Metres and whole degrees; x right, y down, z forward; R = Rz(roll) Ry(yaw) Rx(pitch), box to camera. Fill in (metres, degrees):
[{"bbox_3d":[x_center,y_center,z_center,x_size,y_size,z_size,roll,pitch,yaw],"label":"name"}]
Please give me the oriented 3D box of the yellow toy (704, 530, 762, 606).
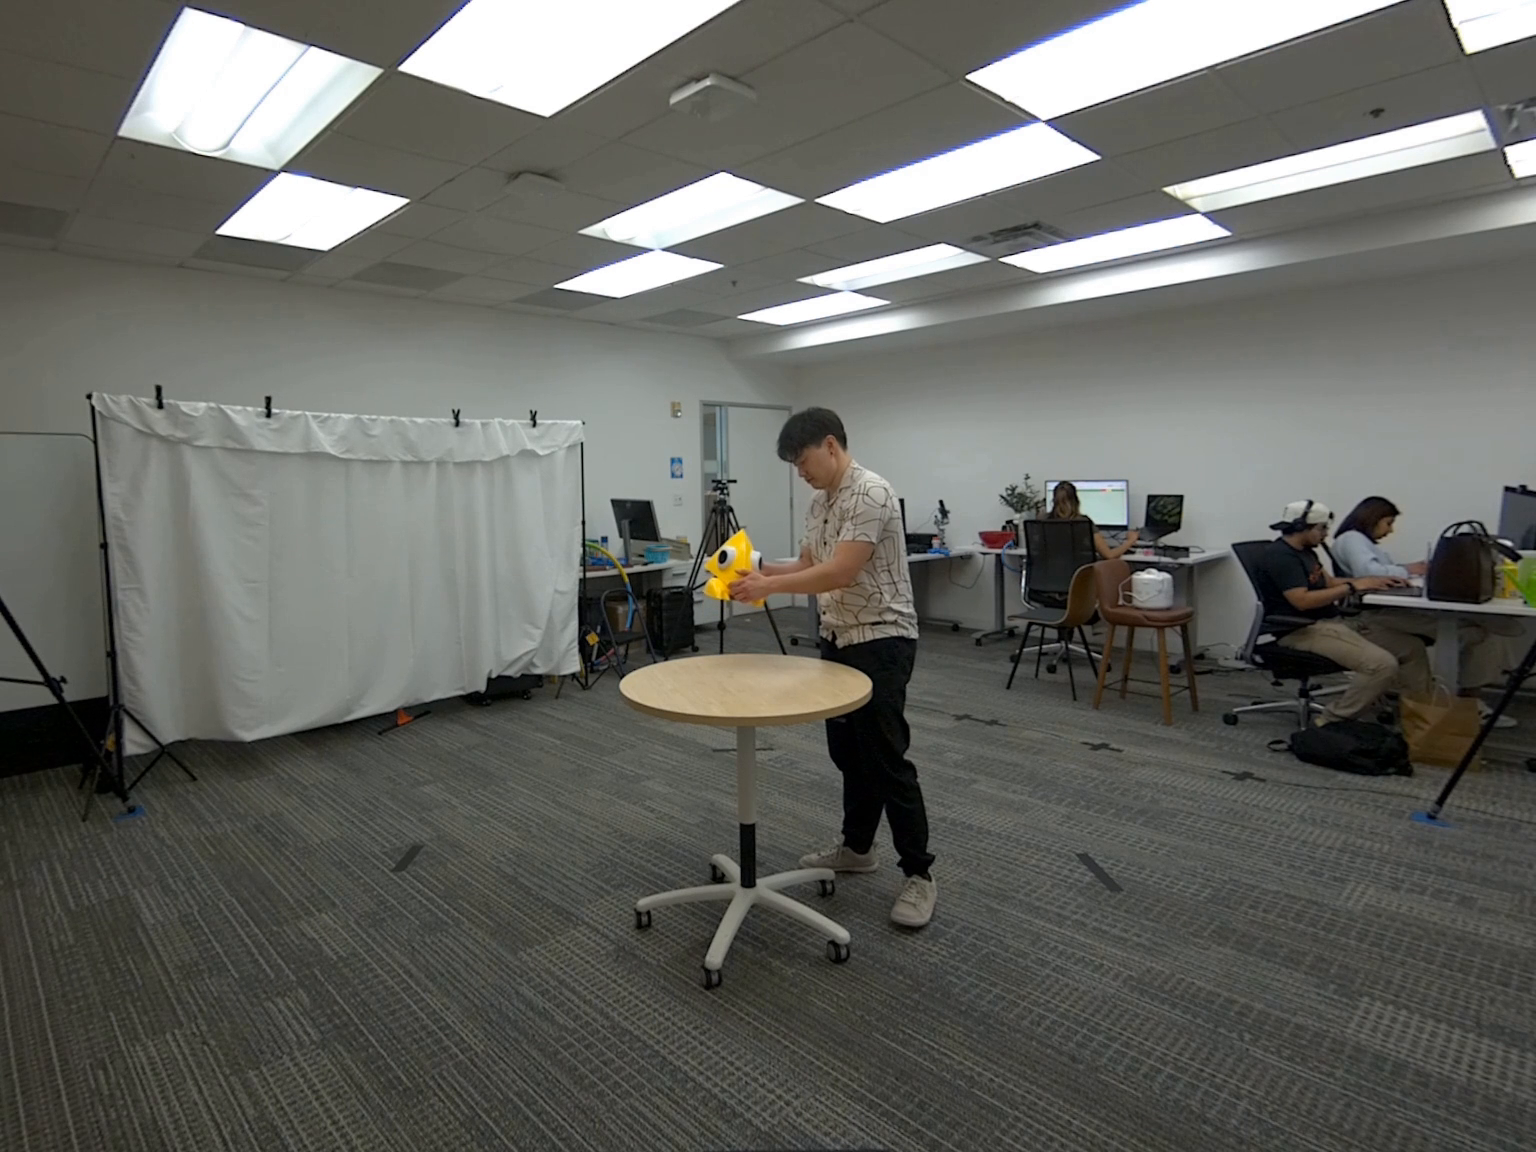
[{"bbox_3d":[-0.087,-0.038,2.817,0.202,0.231,0.196,11,0,-13],"label":"yellow toy"}]
